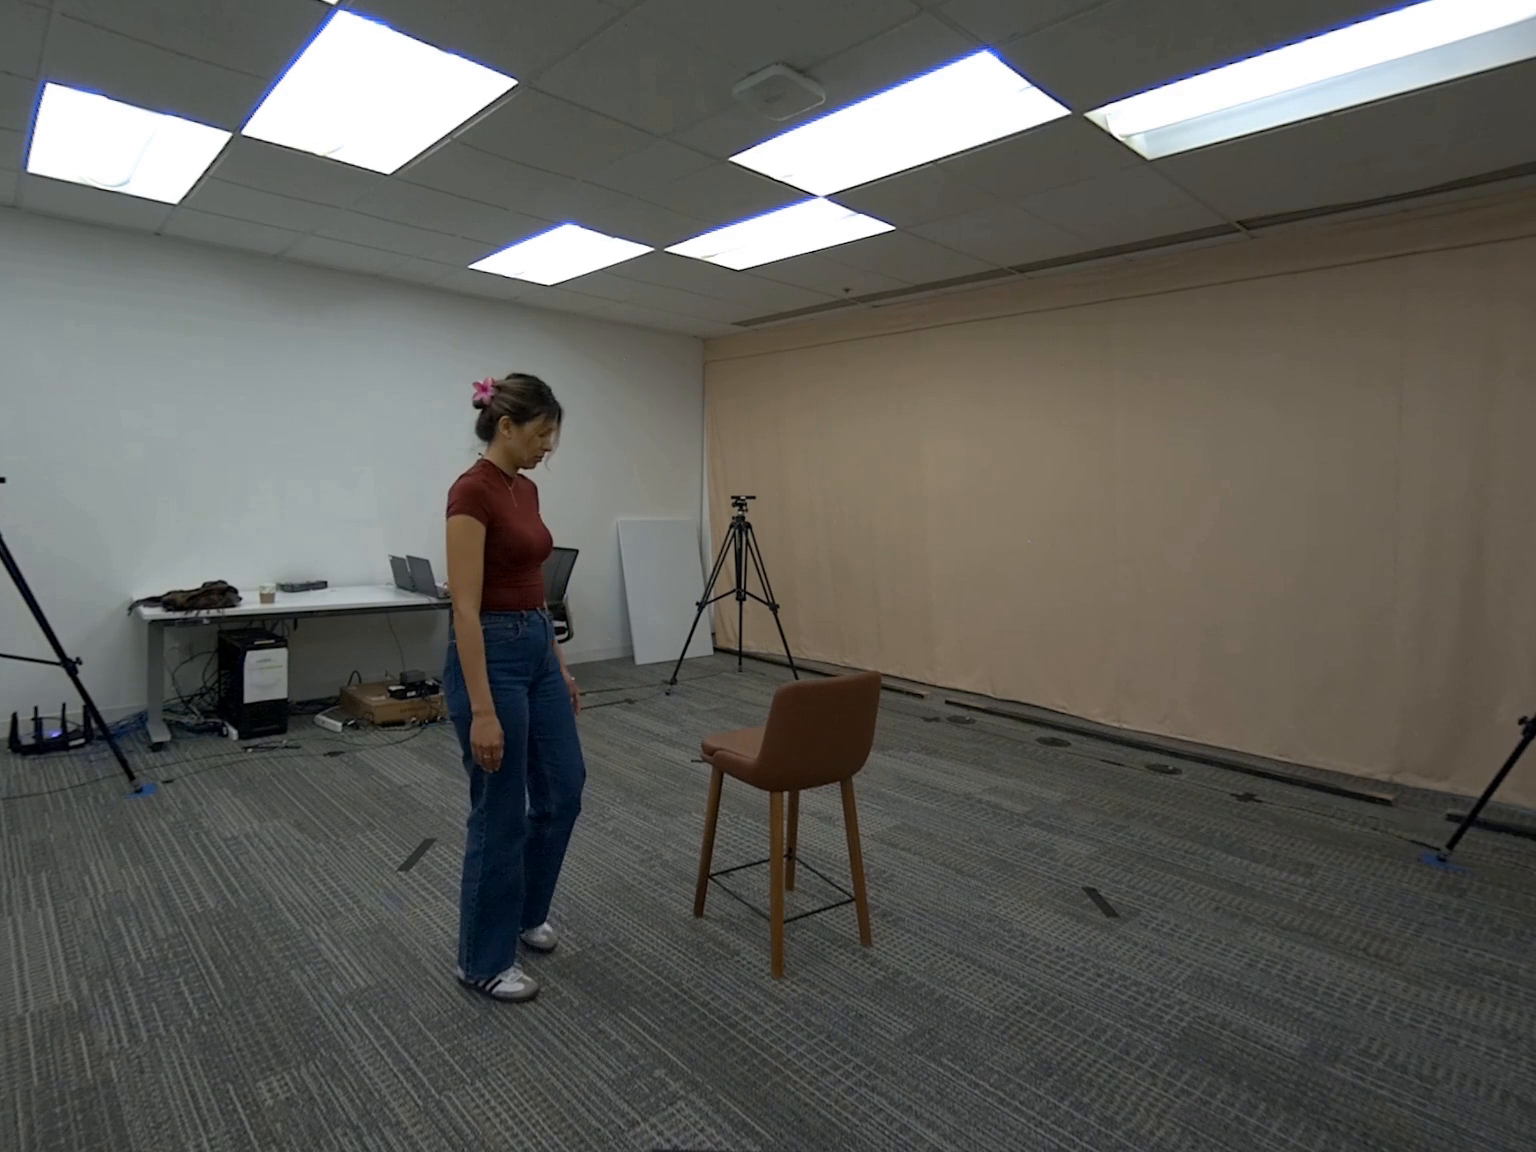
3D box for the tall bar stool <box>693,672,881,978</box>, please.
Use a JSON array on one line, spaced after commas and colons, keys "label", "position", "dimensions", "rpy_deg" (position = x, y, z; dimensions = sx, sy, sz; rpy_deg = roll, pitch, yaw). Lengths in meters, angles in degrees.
[{"label": "tall bar stool", "position": [0.053, 0.711, 2.688], "dimensions": [0.446, 0.887, 0.479], "rpy_deg": [-1, 6, -35]}]
